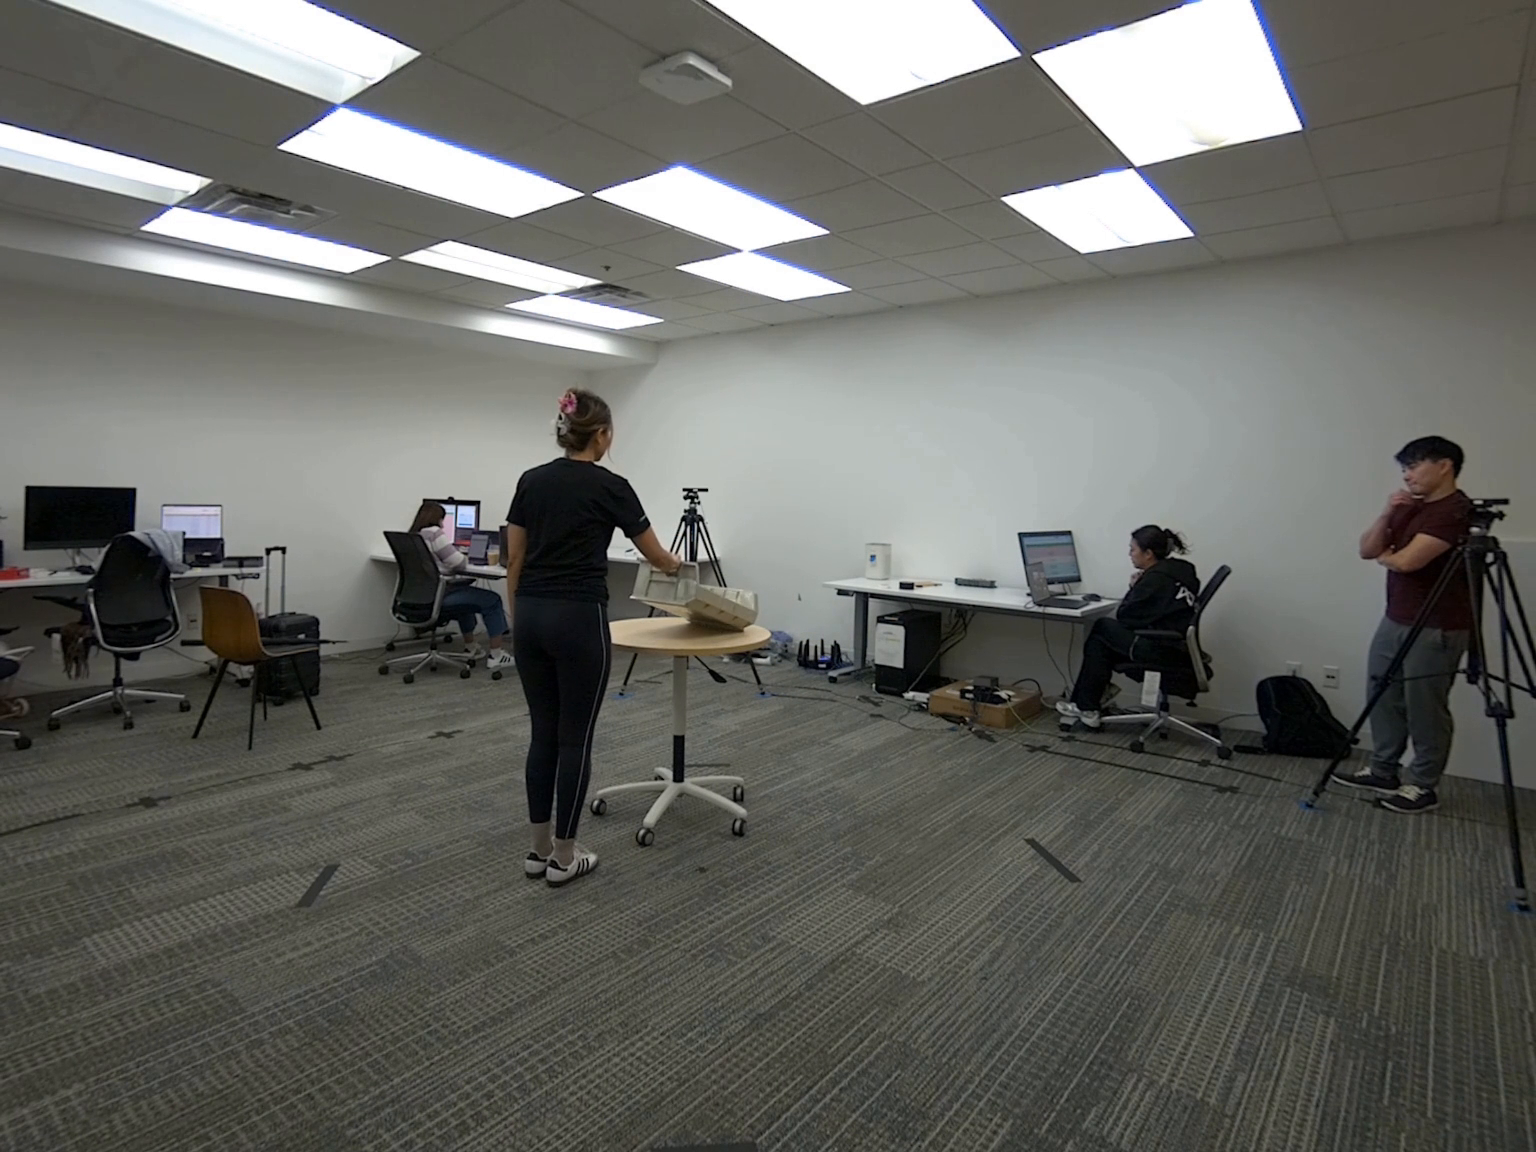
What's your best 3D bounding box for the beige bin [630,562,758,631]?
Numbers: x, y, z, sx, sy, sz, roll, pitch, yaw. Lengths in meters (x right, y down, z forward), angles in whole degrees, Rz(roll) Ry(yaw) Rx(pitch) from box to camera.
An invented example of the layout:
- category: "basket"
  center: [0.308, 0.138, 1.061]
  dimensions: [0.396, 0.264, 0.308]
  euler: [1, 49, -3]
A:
- category: "beige bin"
  center: [-0.319, 0.079, 3.617]
  dimensions: [0.390, 0.190, 0.405]
  euler: [4, -14, 39]
